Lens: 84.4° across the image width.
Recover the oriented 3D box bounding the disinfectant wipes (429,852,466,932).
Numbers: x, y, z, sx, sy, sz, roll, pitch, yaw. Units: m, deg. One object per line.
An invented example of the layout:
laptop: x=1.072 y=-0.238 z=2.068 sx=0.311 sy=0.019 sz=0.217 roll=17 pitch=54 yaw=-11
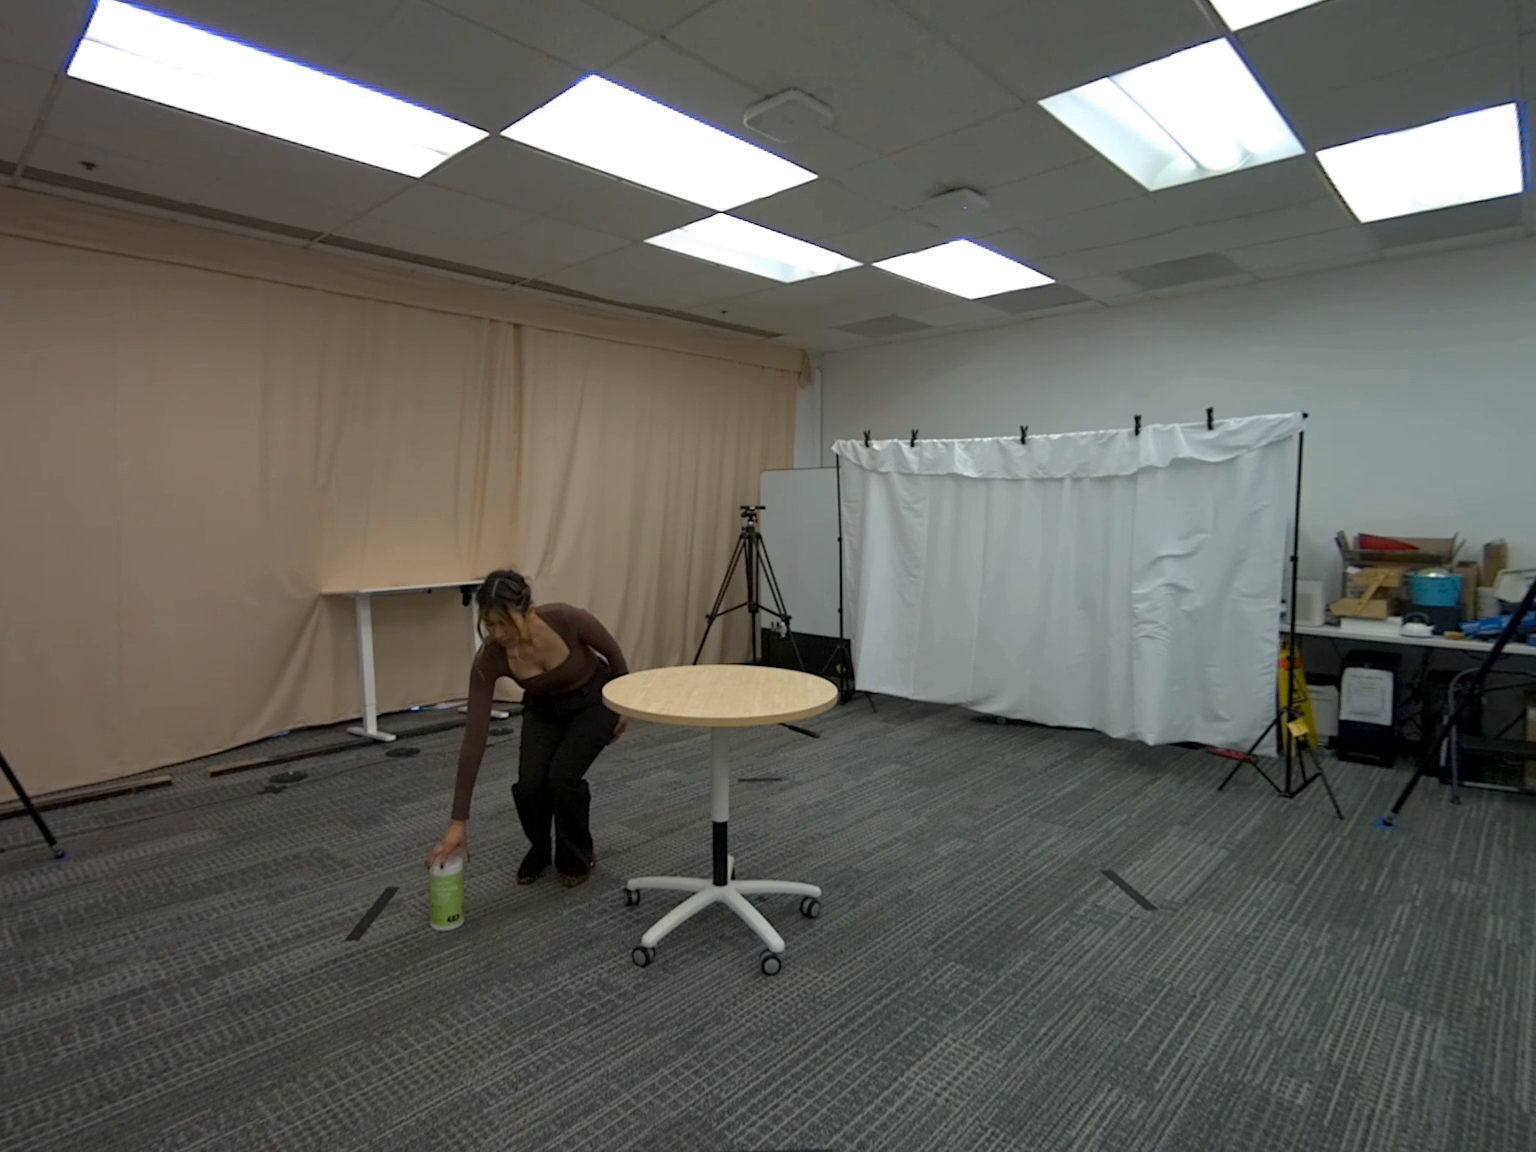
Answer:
disinfectant wipes: x=-1.083 y=1.065 z=2.811 sx=0.118 sy=0.217 sz=0.118 roll=1 pitch=4 yaw=-2
